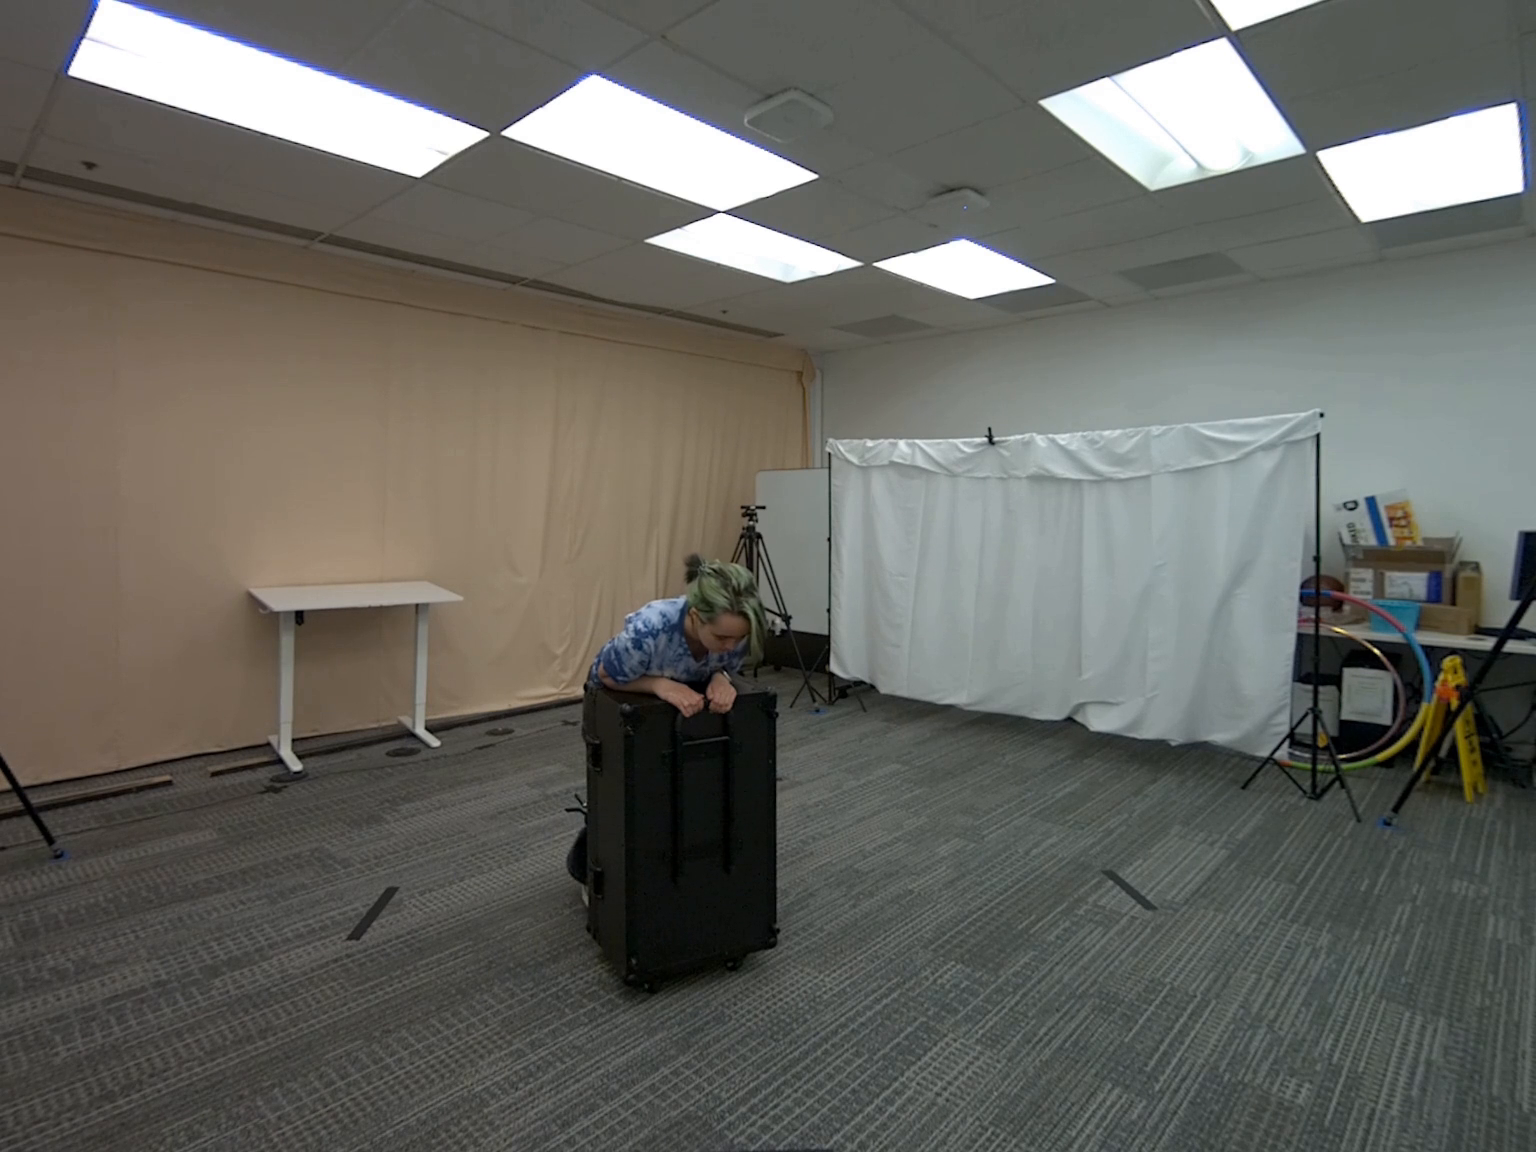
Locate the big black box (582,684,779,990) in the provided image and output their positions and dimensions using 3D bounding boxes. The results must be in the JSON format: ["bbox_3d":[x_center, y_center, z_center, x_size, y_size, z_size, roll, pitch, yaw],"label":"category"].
[{"bbox_3d":[-0.258,0.706,2.539,0.508,0.860,0.407,-2,3,-28],"label":"big black box"}]
